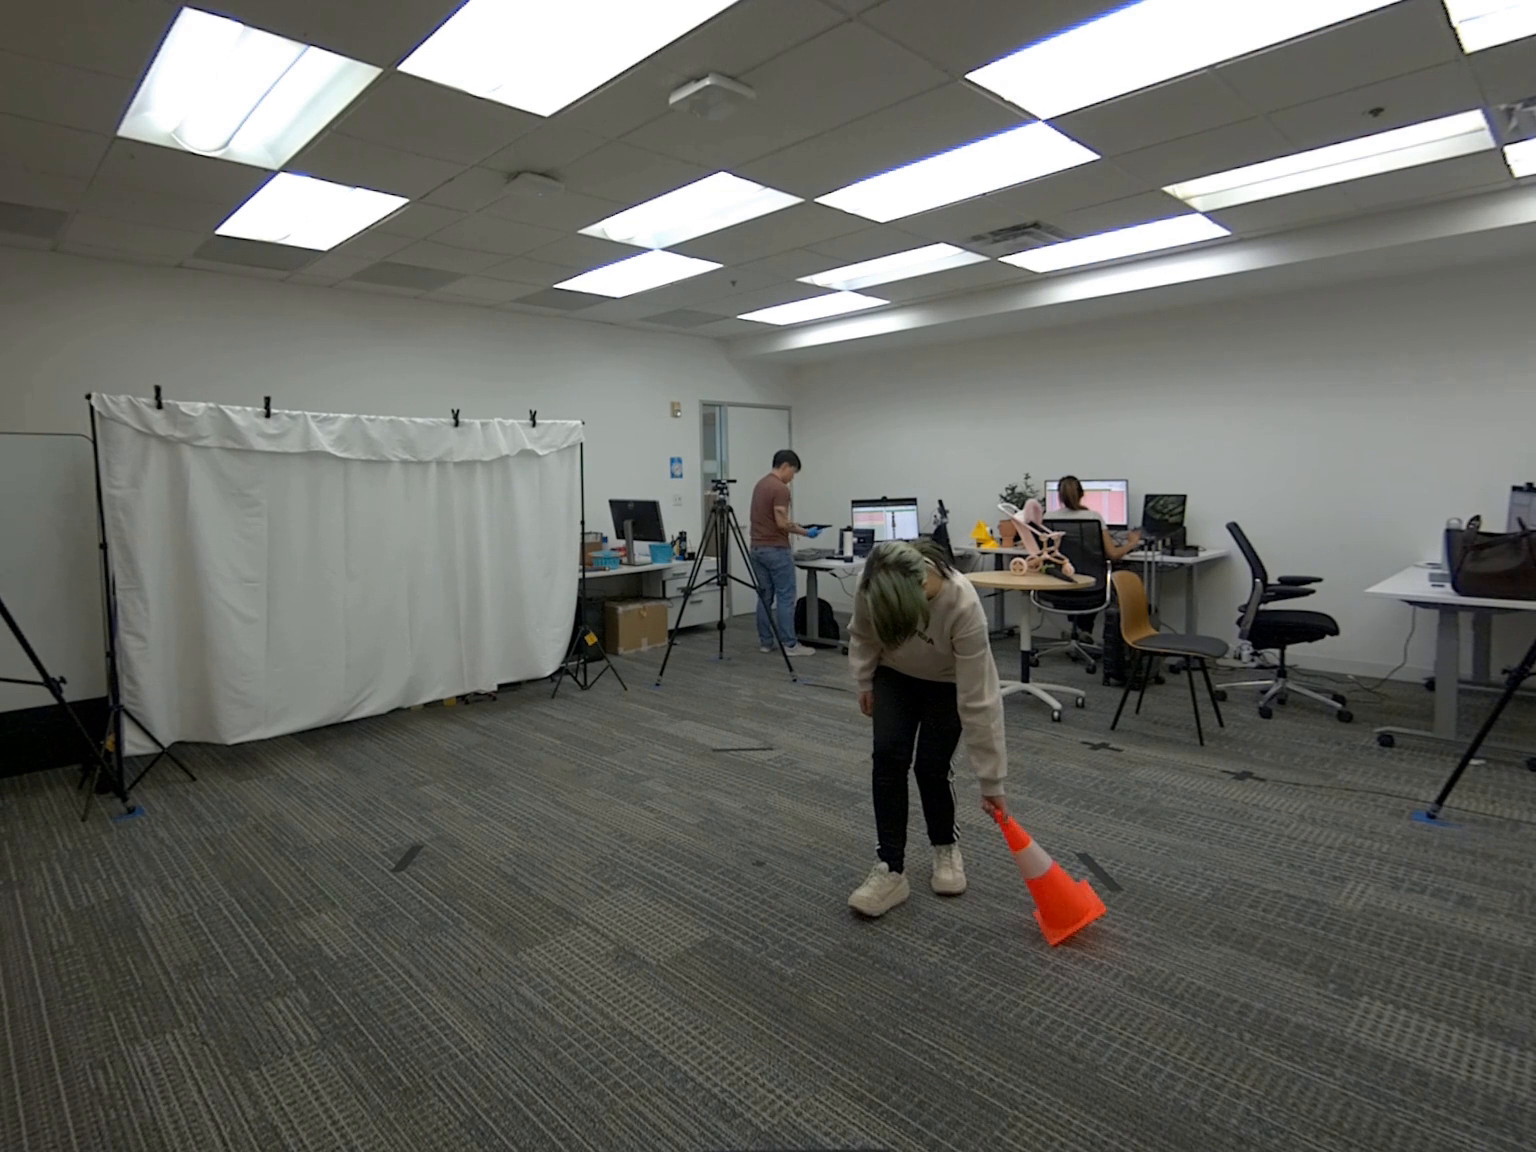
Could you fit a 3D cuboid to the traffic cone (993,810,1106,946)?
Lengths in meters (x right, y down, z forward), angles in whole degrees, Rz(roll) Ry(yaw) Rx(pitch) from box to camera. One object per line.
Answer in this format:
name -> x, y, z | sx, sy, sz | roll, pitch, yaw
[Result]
traffic cone -> 0.814, 0.879, 2.613 | 0.204, 0.382, 0.205 | -35, 3, 6
